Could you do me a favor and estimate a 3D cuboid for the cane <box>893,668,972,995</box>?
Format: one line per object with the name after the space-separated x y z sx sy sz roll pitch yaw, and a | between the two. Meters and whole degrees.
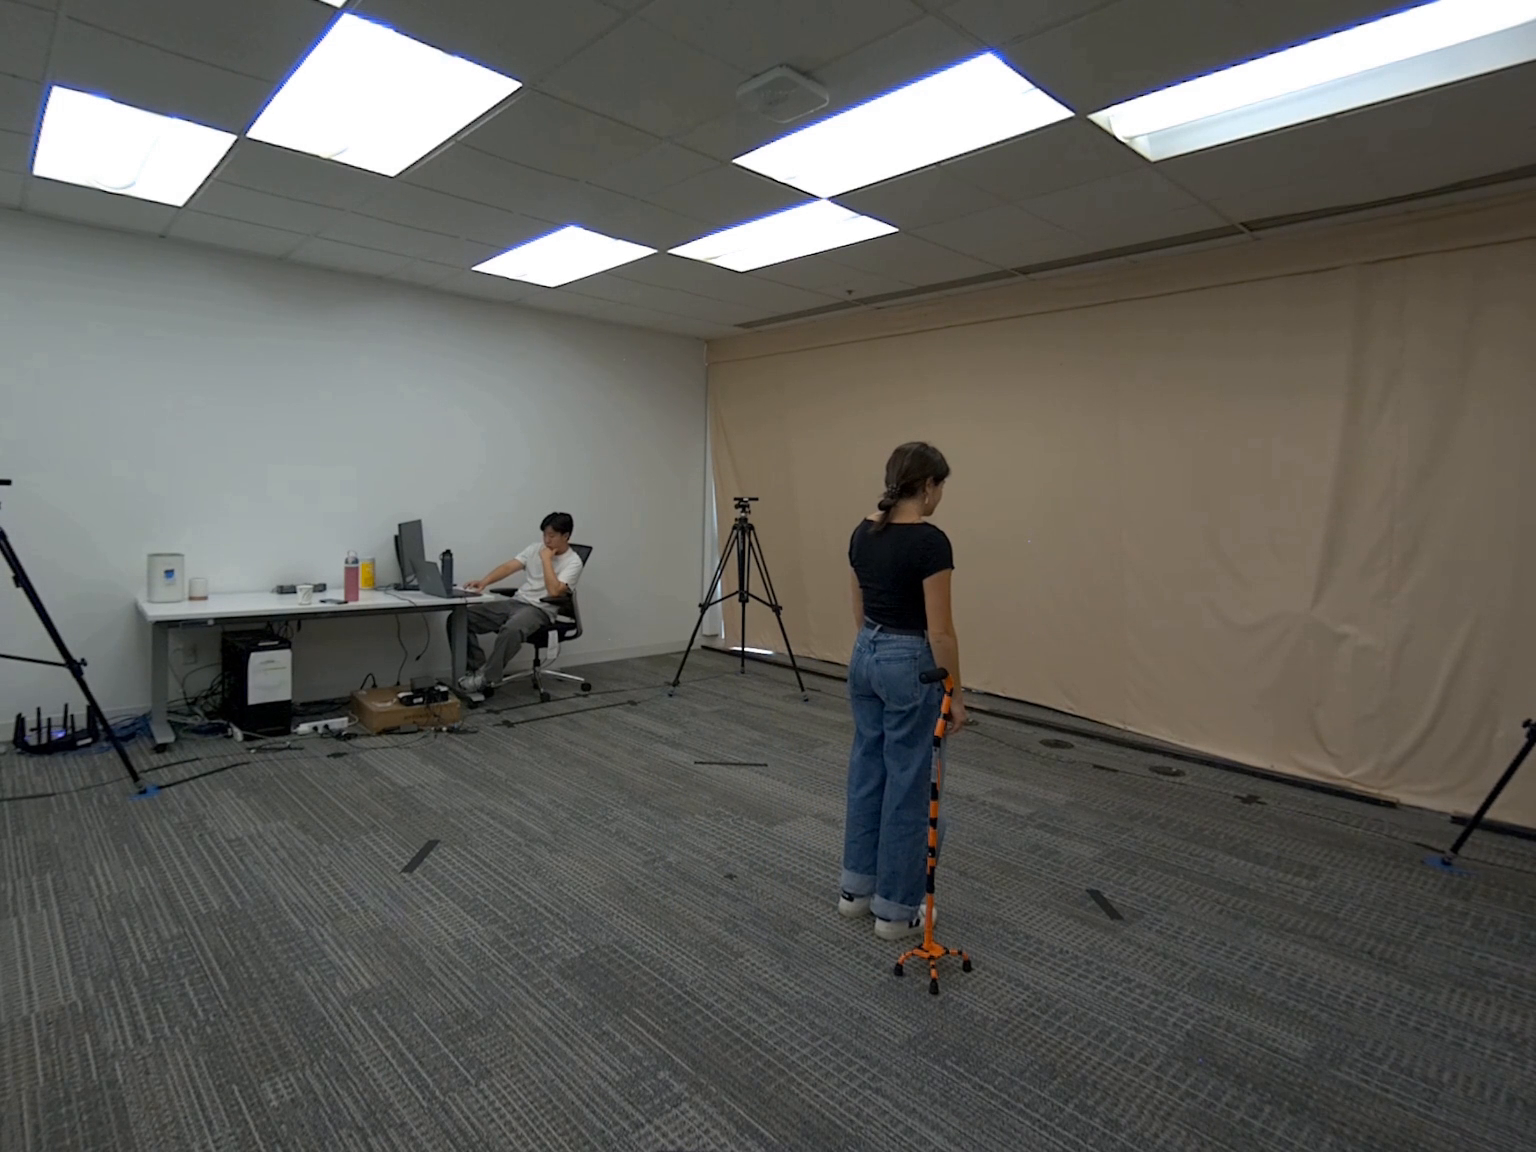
0.492 0.733 2.469 0.155 0.906 0.202 4 4 44 | cane
